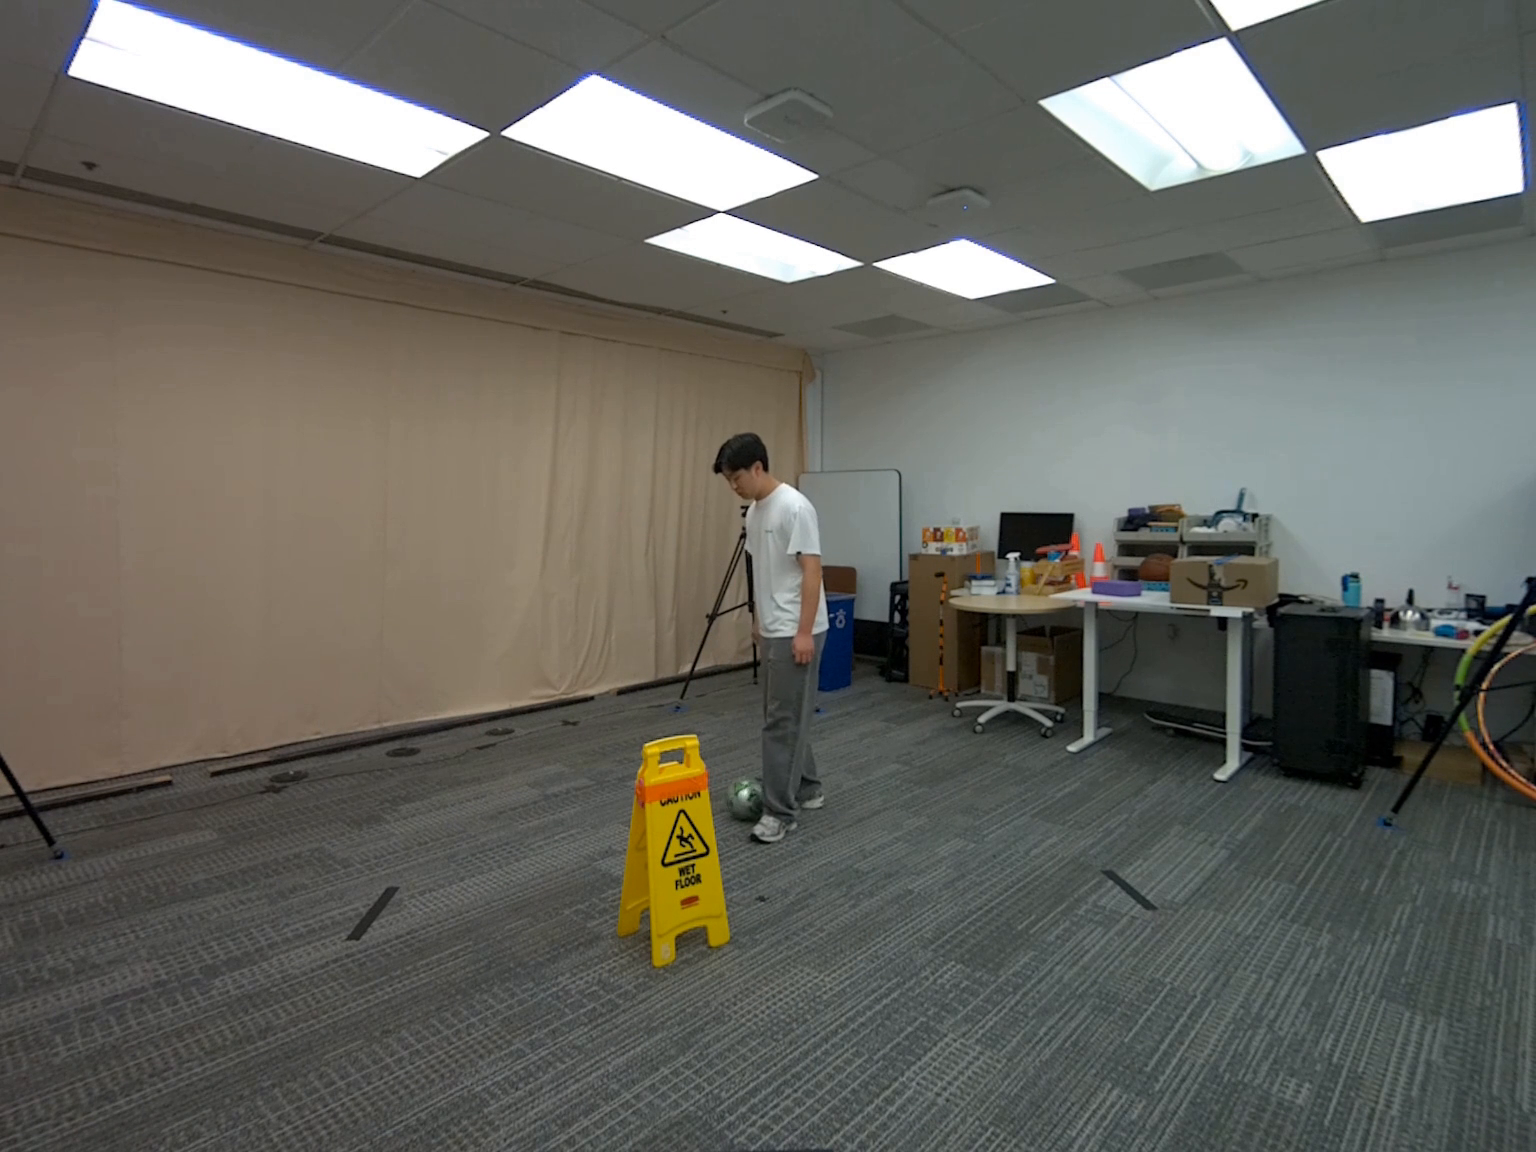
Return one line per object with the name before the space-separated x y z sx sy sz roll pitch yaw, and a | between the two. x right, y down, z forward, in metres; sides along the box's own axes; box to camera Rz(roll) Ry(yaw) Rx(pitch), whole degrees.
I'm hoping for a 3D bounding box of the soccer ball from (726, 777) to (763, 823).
soccer ball | -0.090 0.993 3.748 0.187 0.187 0.188 0 4 -2
